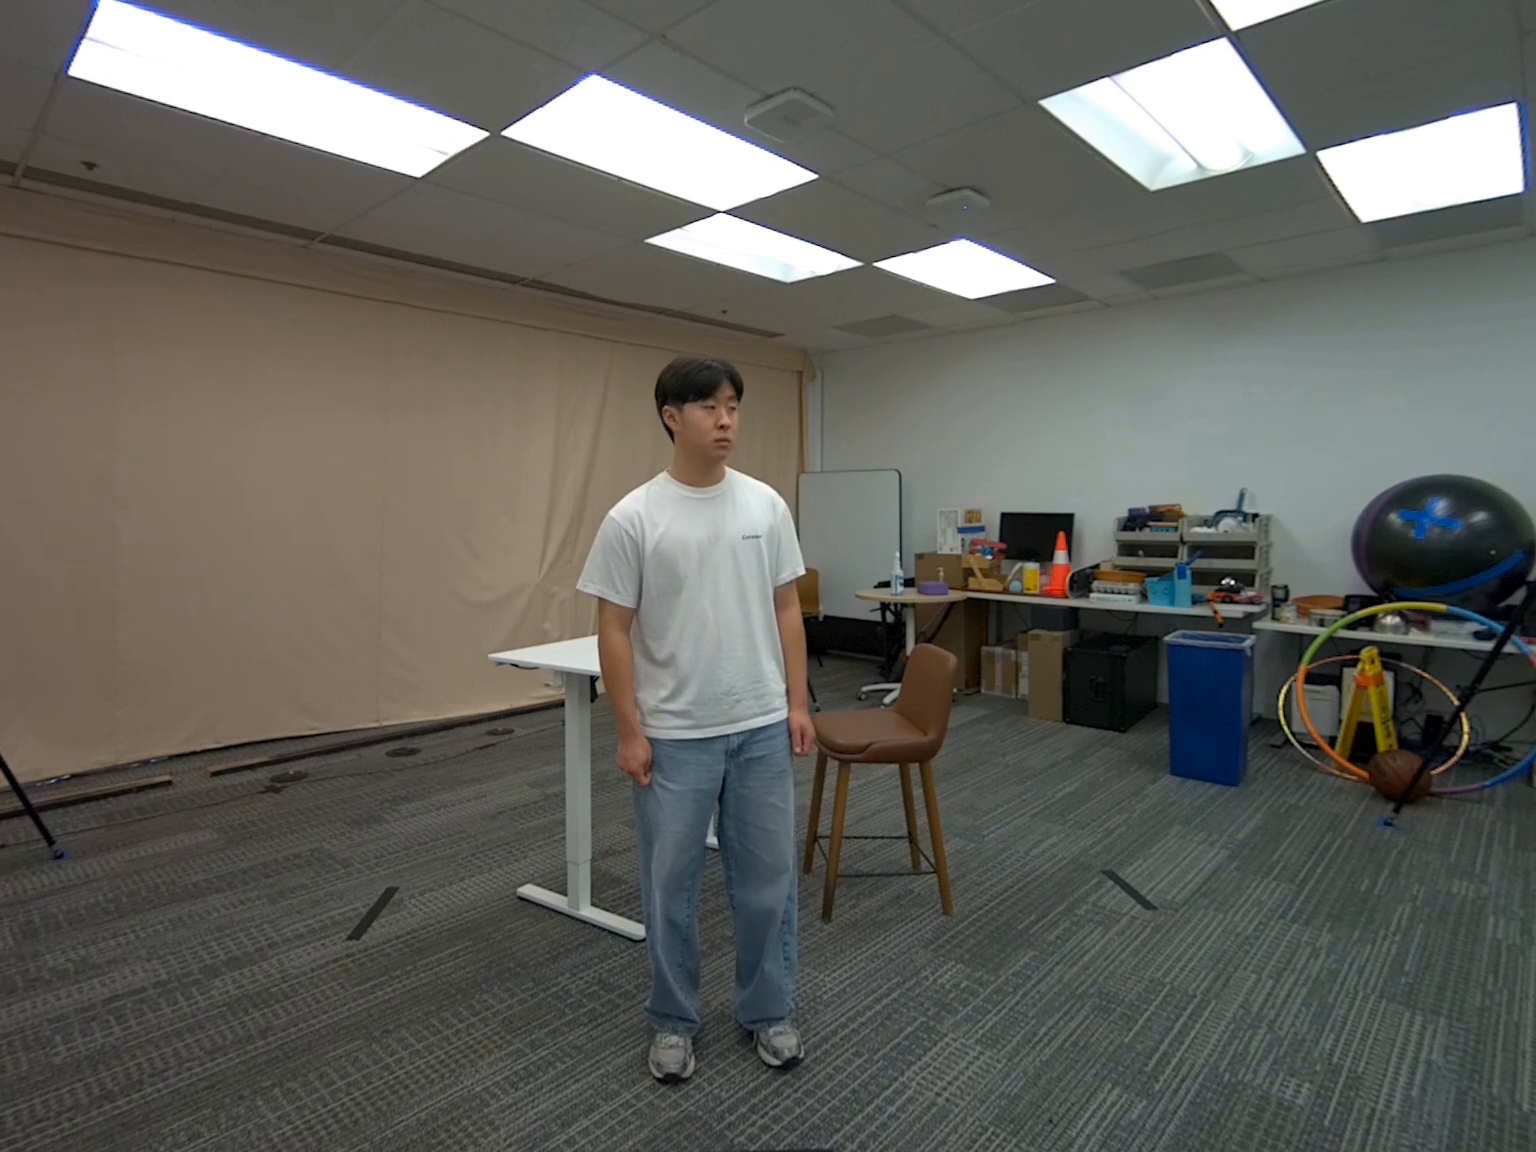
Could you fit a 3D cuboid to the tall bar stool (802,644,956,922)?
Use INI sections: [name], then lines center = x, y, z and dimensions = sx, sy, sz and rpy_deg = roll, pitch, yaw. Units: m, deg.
[tall bar stool]
center = 0.395, 0.707, 2.997
dimensions = 0.464, 0.888, 0.461
rpy_deg = 1, 3, -7
